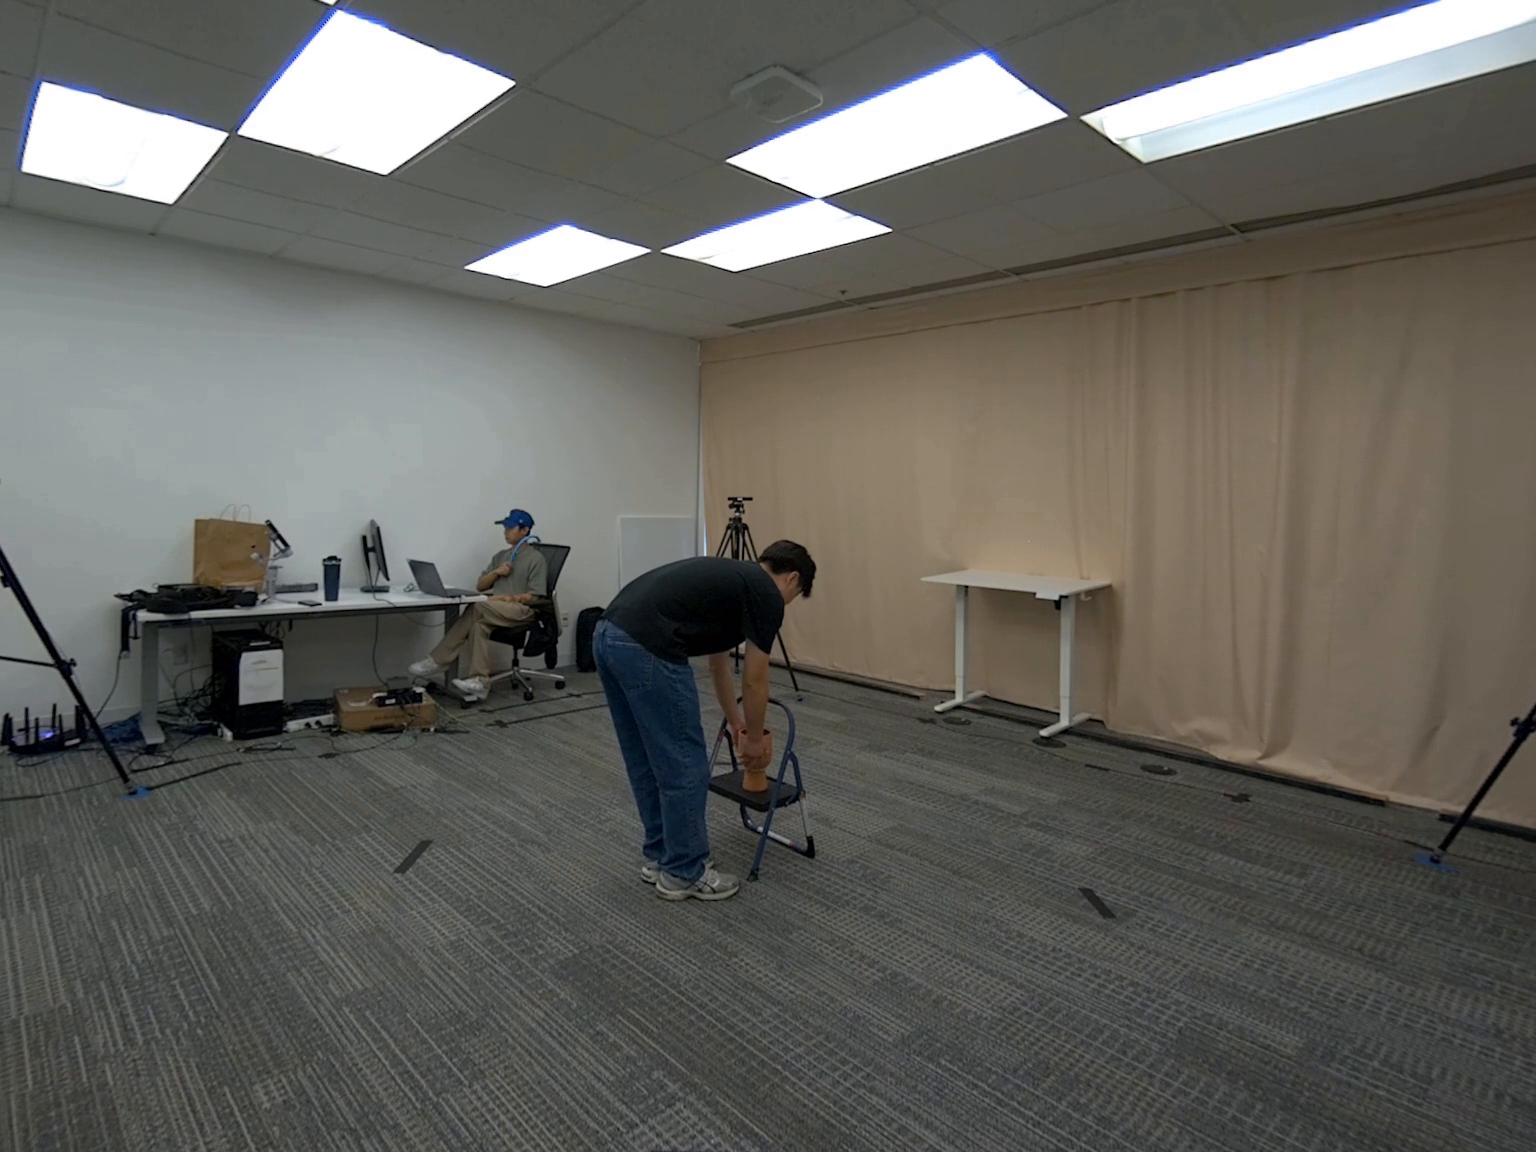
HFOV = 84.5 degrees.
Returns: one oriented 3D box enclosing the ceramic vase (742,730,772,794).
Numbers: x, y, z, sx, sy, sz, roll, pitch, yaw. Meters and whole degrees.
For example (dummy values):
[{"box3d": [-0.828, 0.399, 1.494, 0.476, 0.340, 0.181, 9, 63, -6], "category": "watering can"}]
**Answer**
[{"box3d": [-0.056, 0.723, 3.299, 0.155, 0.219, 0.138, -4, 6, -38], "category": "ceramic vase"}]
